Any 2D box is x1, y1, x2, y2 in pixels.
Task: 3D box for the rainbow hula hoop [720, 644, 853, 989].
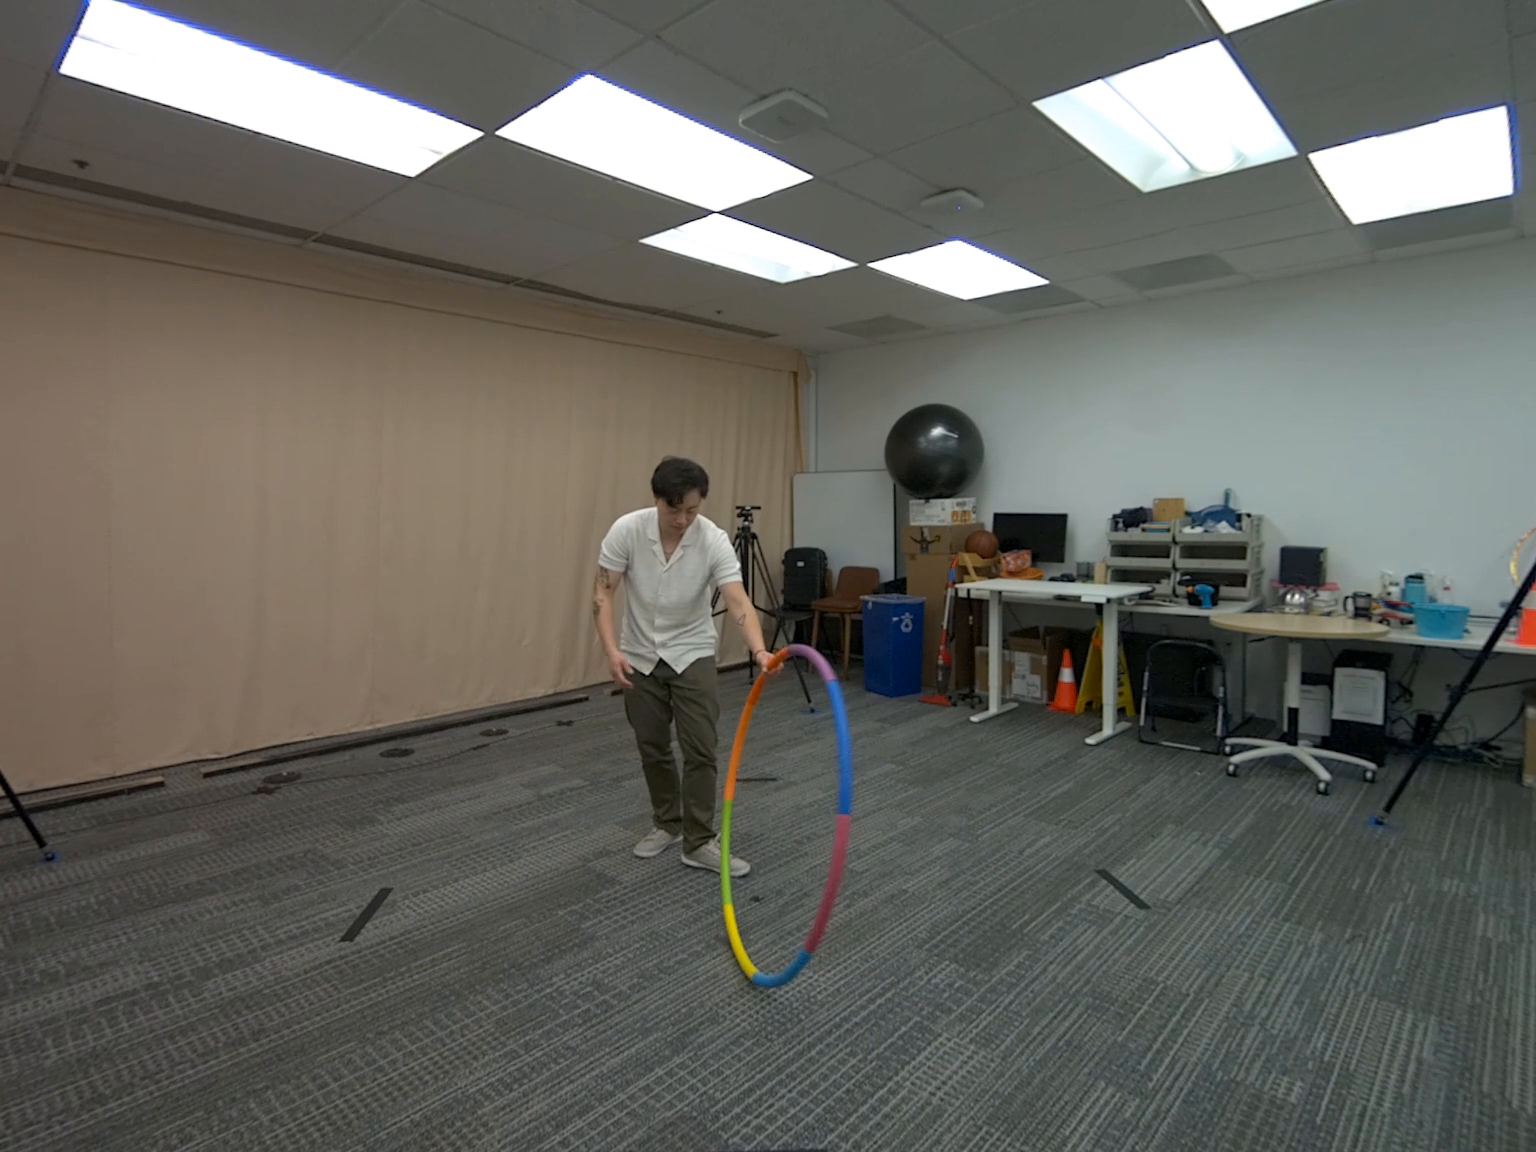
[{"bbox_3d":[0.018,0.705,2.569,0.035,0.979,0.997,13,0,-18],"label":"rainbow hula hoop"}]
